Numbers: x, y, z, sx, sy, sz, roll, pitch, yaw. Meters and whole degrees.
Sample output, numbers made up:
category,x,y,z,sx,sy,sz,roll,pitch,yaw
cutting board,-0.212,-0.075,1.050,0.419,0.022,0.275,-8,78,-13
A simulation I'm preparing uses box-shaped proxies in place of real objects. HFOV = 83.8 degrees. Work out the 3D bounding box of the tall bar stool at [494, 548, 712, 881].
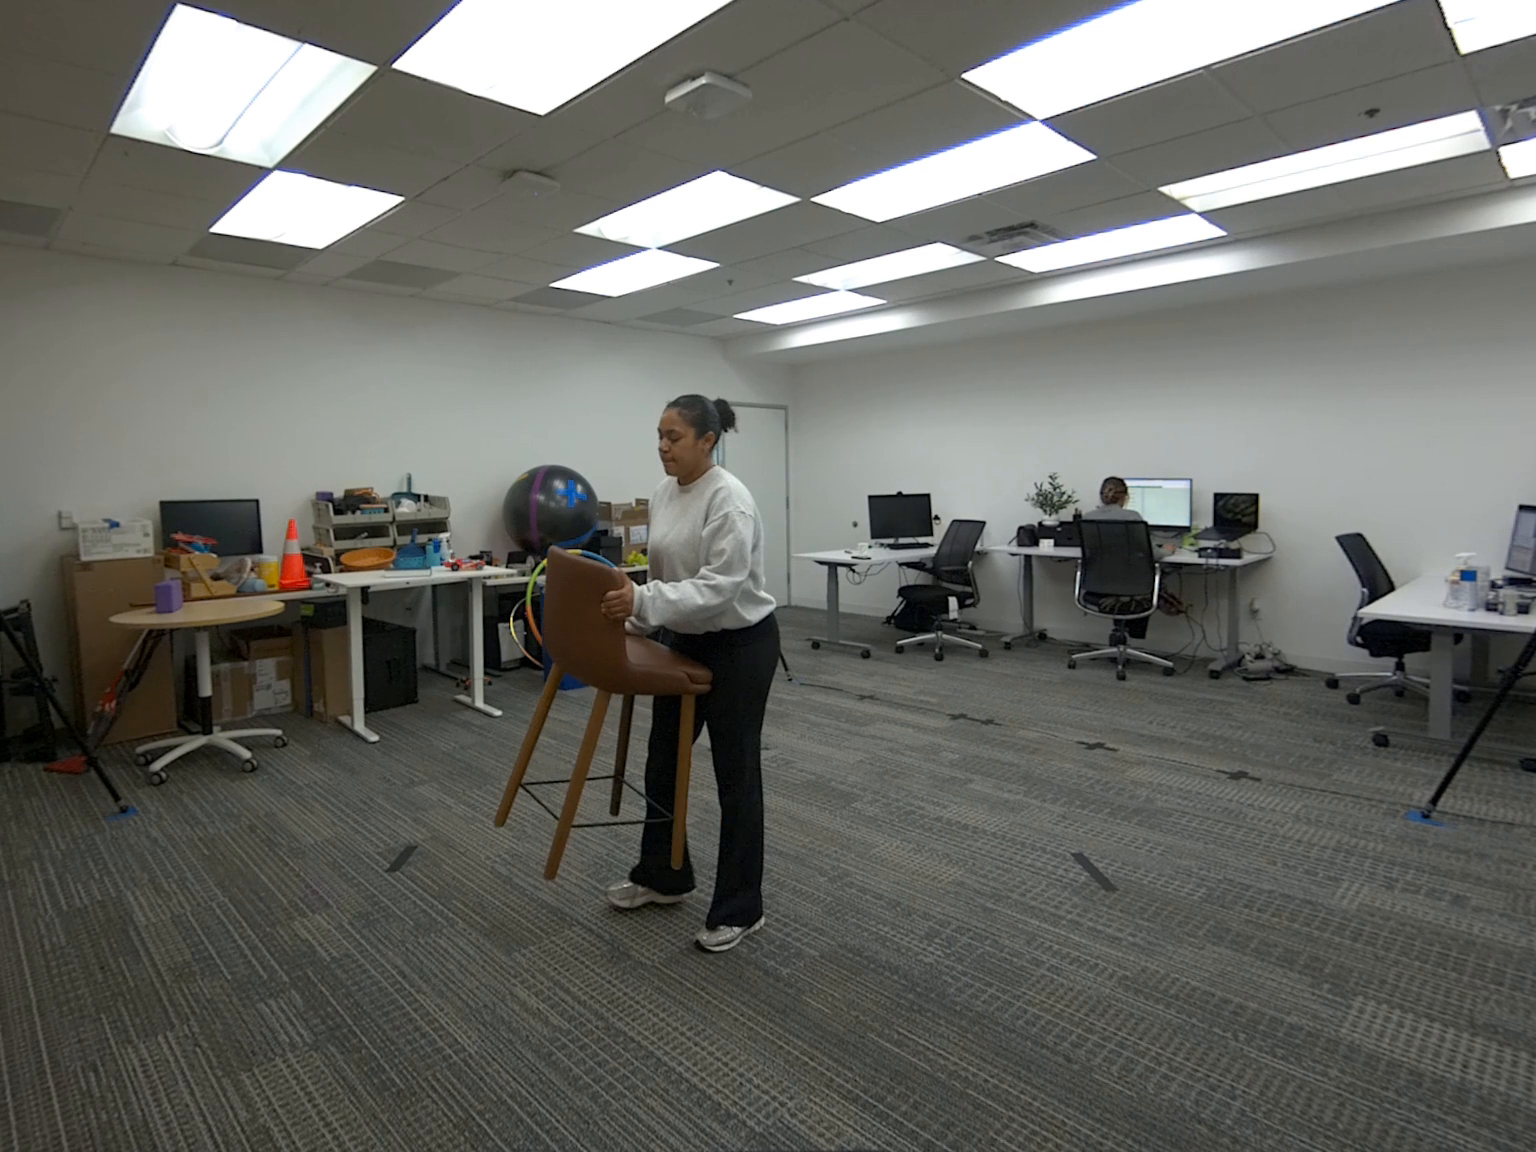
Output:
category,x,y,z,sx,sy,sz,roll,pitch,yaw
tall bar stool,-0.470,0.398,2.573,0.453,0.887,0.472,6,5,-41
